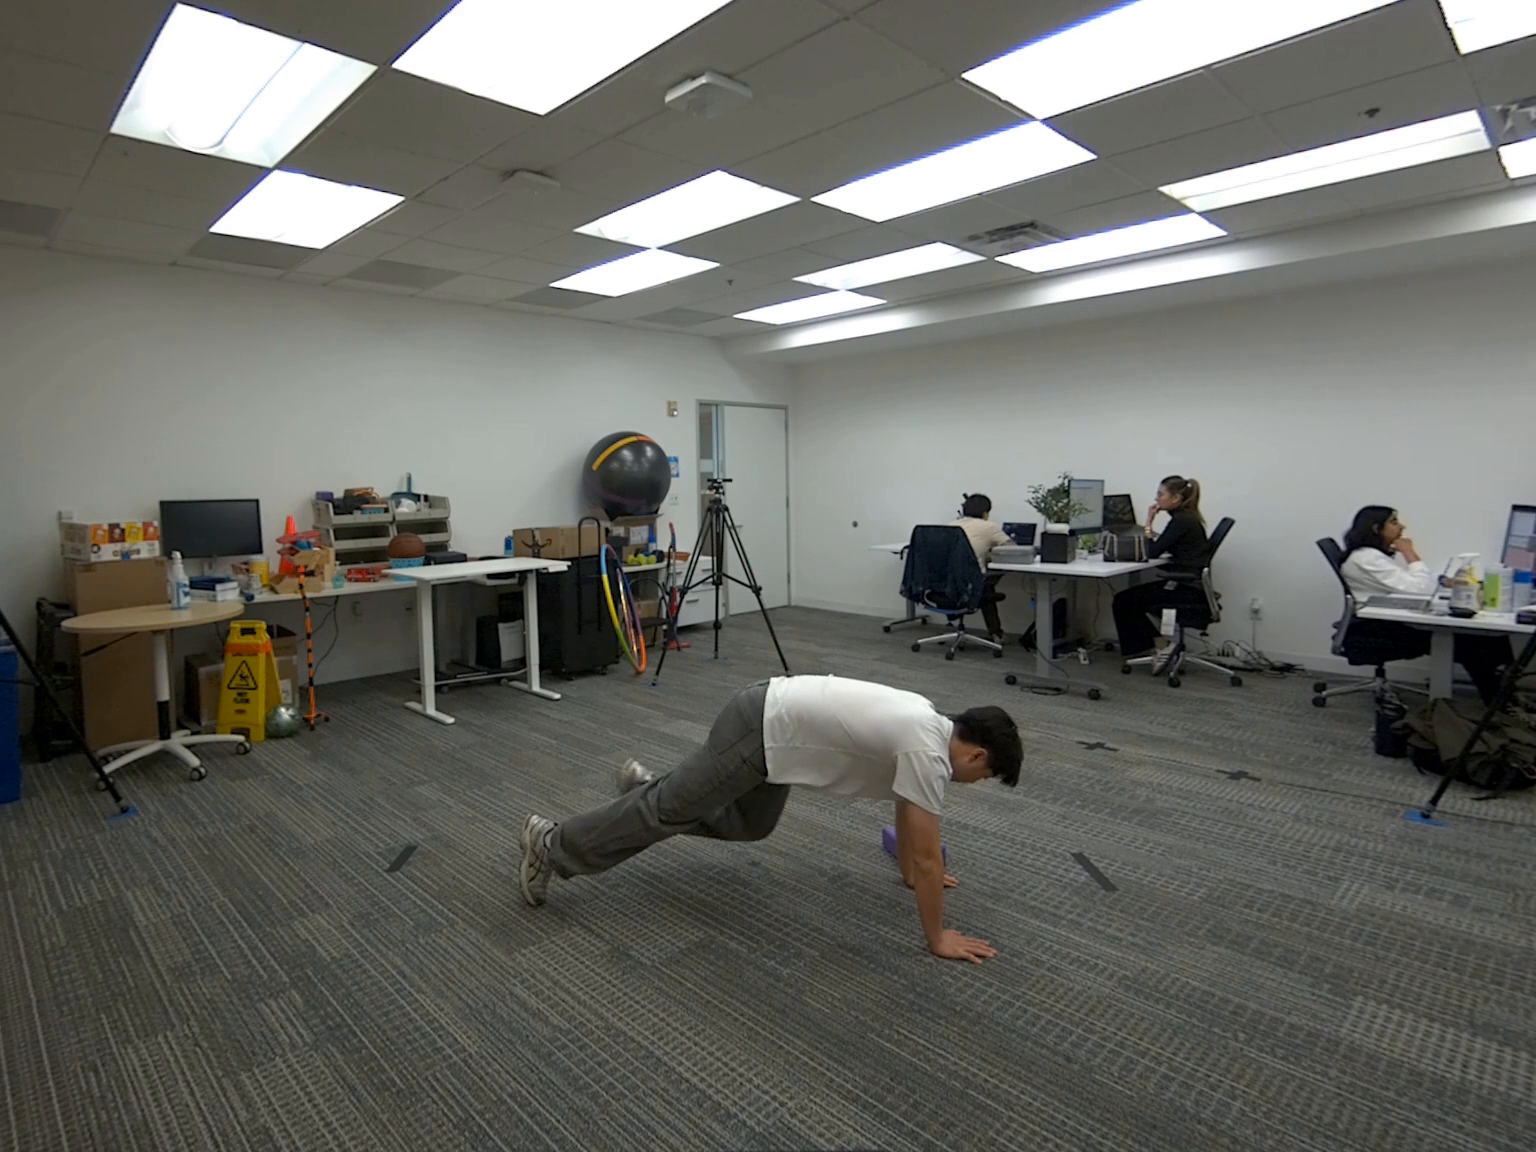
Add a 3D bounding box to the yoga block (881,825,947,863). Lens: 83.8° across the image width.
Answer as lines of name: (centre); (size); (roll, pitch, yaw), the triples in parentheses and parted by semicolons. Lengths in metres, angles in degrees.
yoga block: (0.543, 0.995, 3.146); (0.147, 0.076, 0.233); (-3, 6, -16)
